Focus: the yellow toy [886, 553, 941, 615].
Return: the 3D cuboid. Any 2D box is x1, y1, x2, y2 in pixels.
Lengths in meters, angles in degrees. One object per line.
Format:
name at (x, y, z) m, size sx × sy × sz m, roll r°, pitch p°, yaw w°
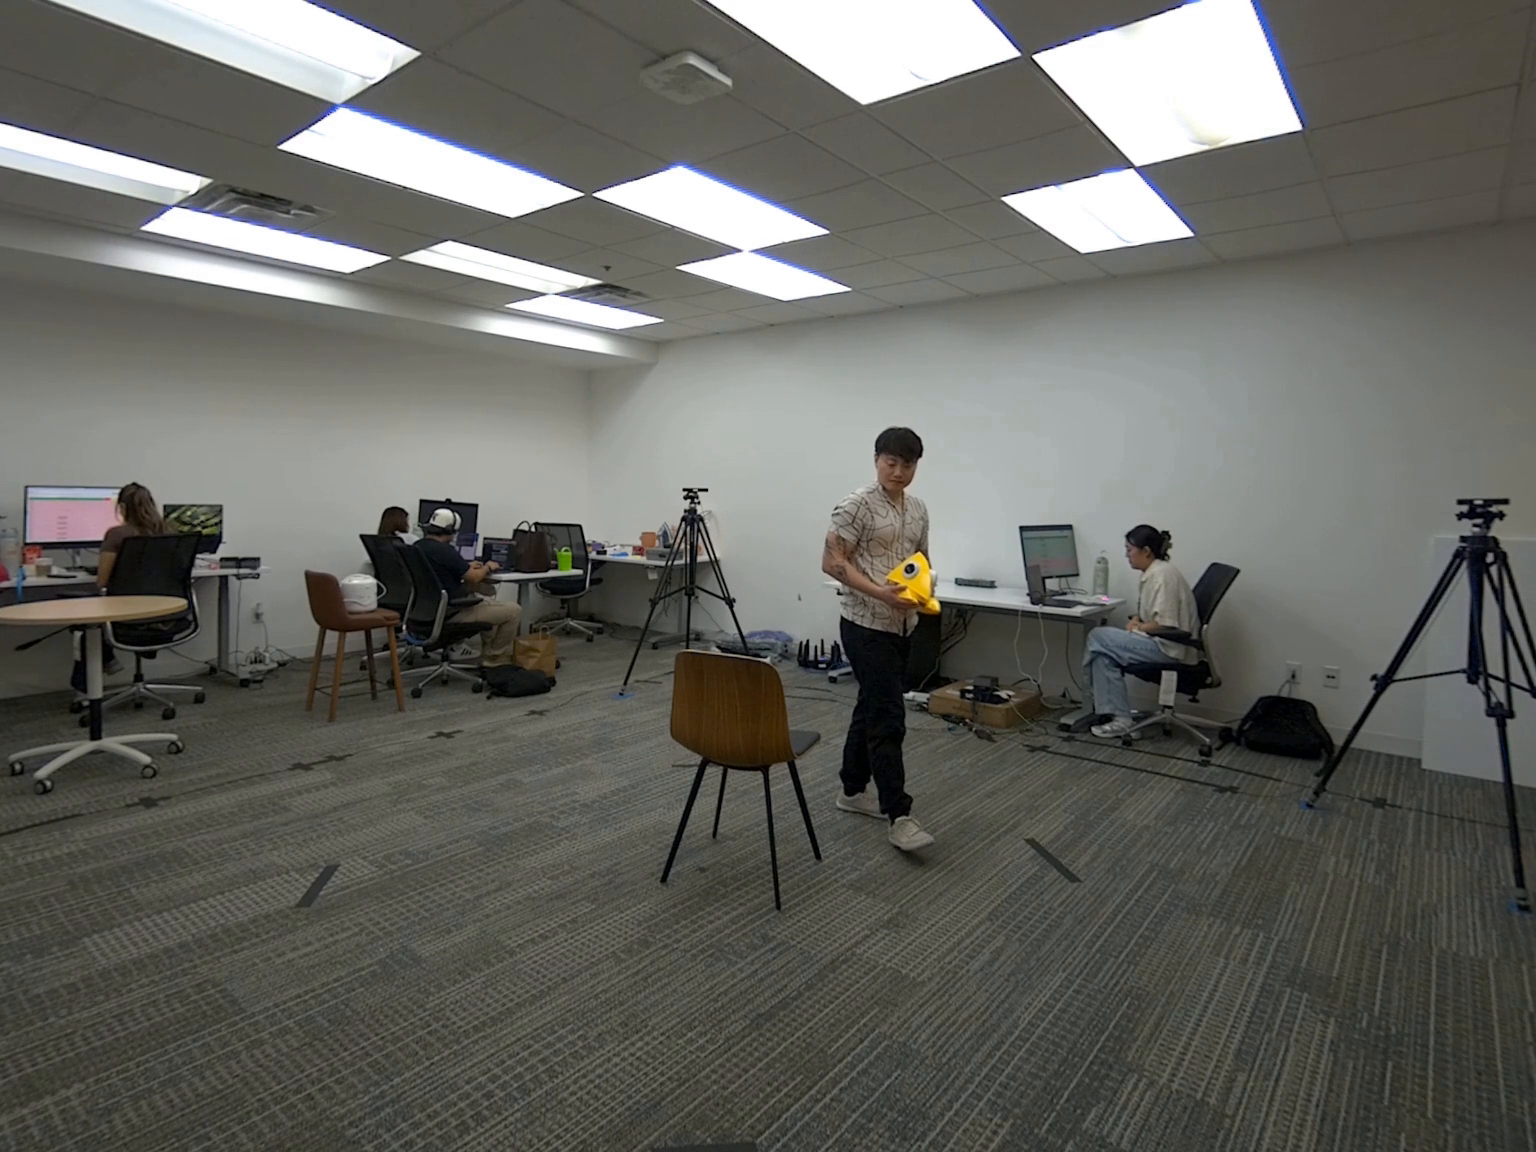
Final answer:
yellow toy at (0.602, 0.004, 3.397) m, size 0.200 × 0.232 × 0.197 m, roll 22°, pitch -11°, yaw -20°
